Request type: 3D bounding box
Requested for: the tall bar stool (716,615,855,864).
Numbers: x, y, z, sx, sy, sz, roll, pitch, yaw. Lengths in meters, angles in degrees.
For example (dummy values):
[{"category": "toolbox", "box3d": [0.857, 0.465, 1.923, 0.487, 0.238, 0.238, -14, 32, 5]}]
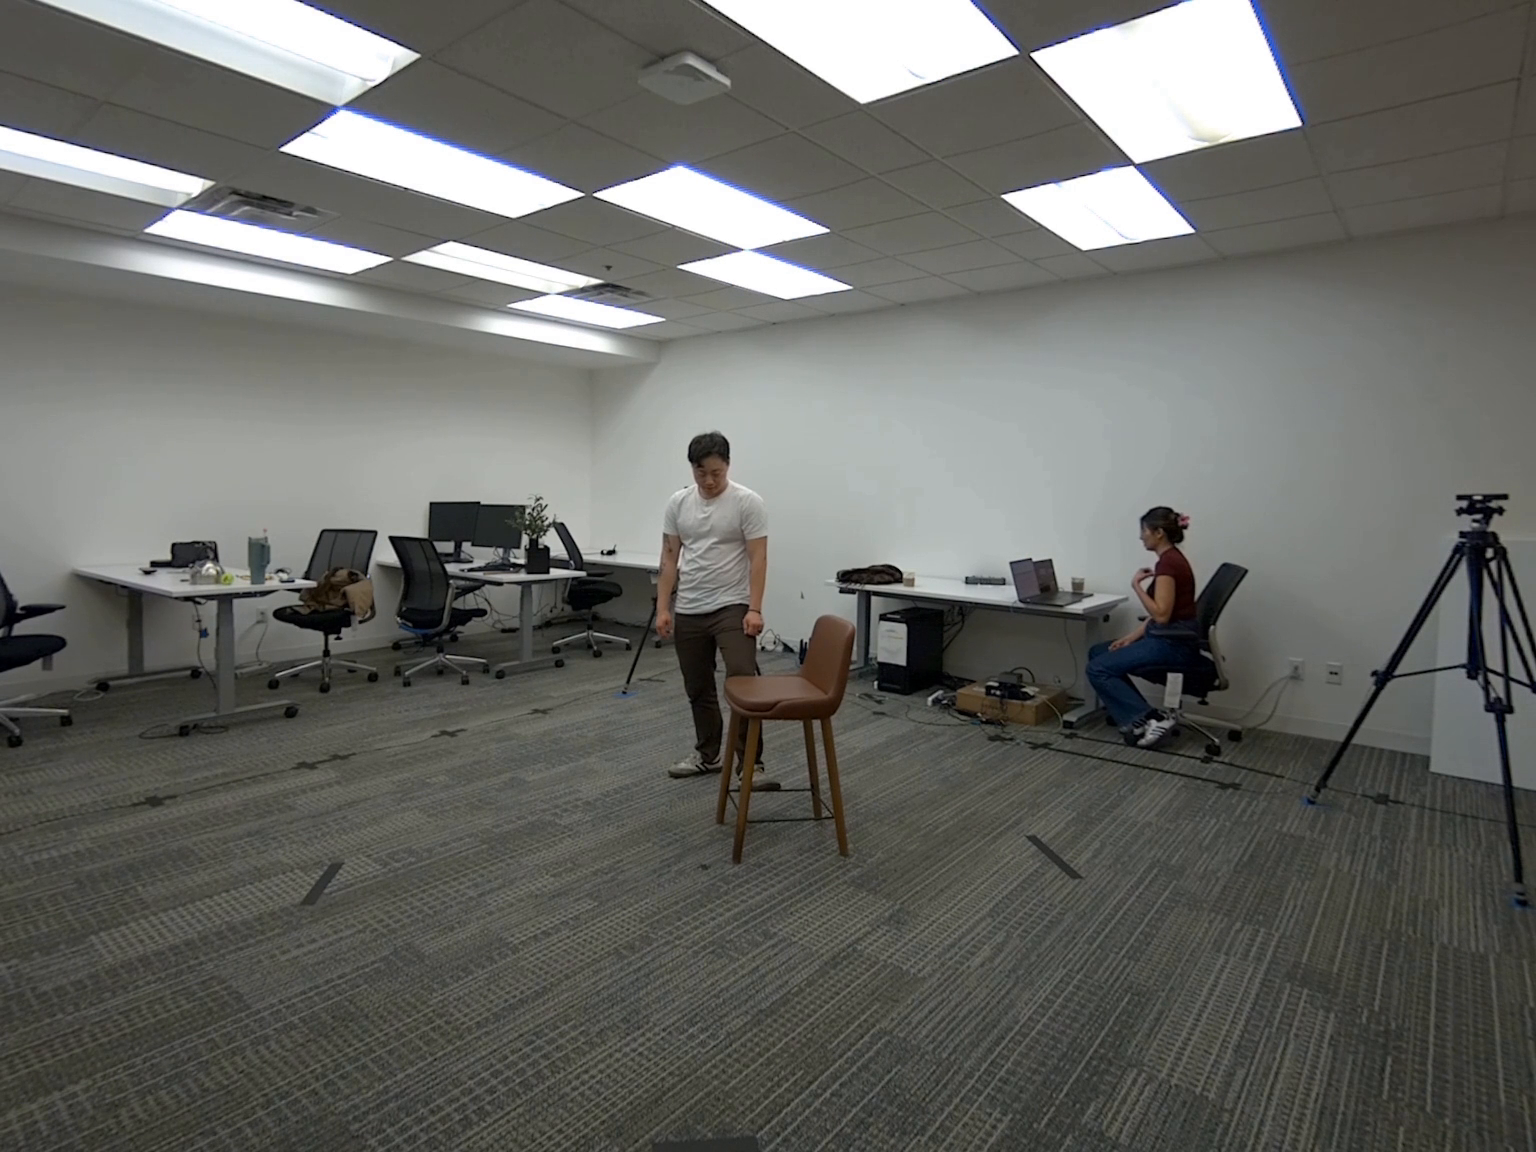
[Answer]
[{"category": "tall bar stool", "box3d": [0.056, 0.608, 3.360, 0.462, 0.887, 0.463, 2, 3, -11]}]
